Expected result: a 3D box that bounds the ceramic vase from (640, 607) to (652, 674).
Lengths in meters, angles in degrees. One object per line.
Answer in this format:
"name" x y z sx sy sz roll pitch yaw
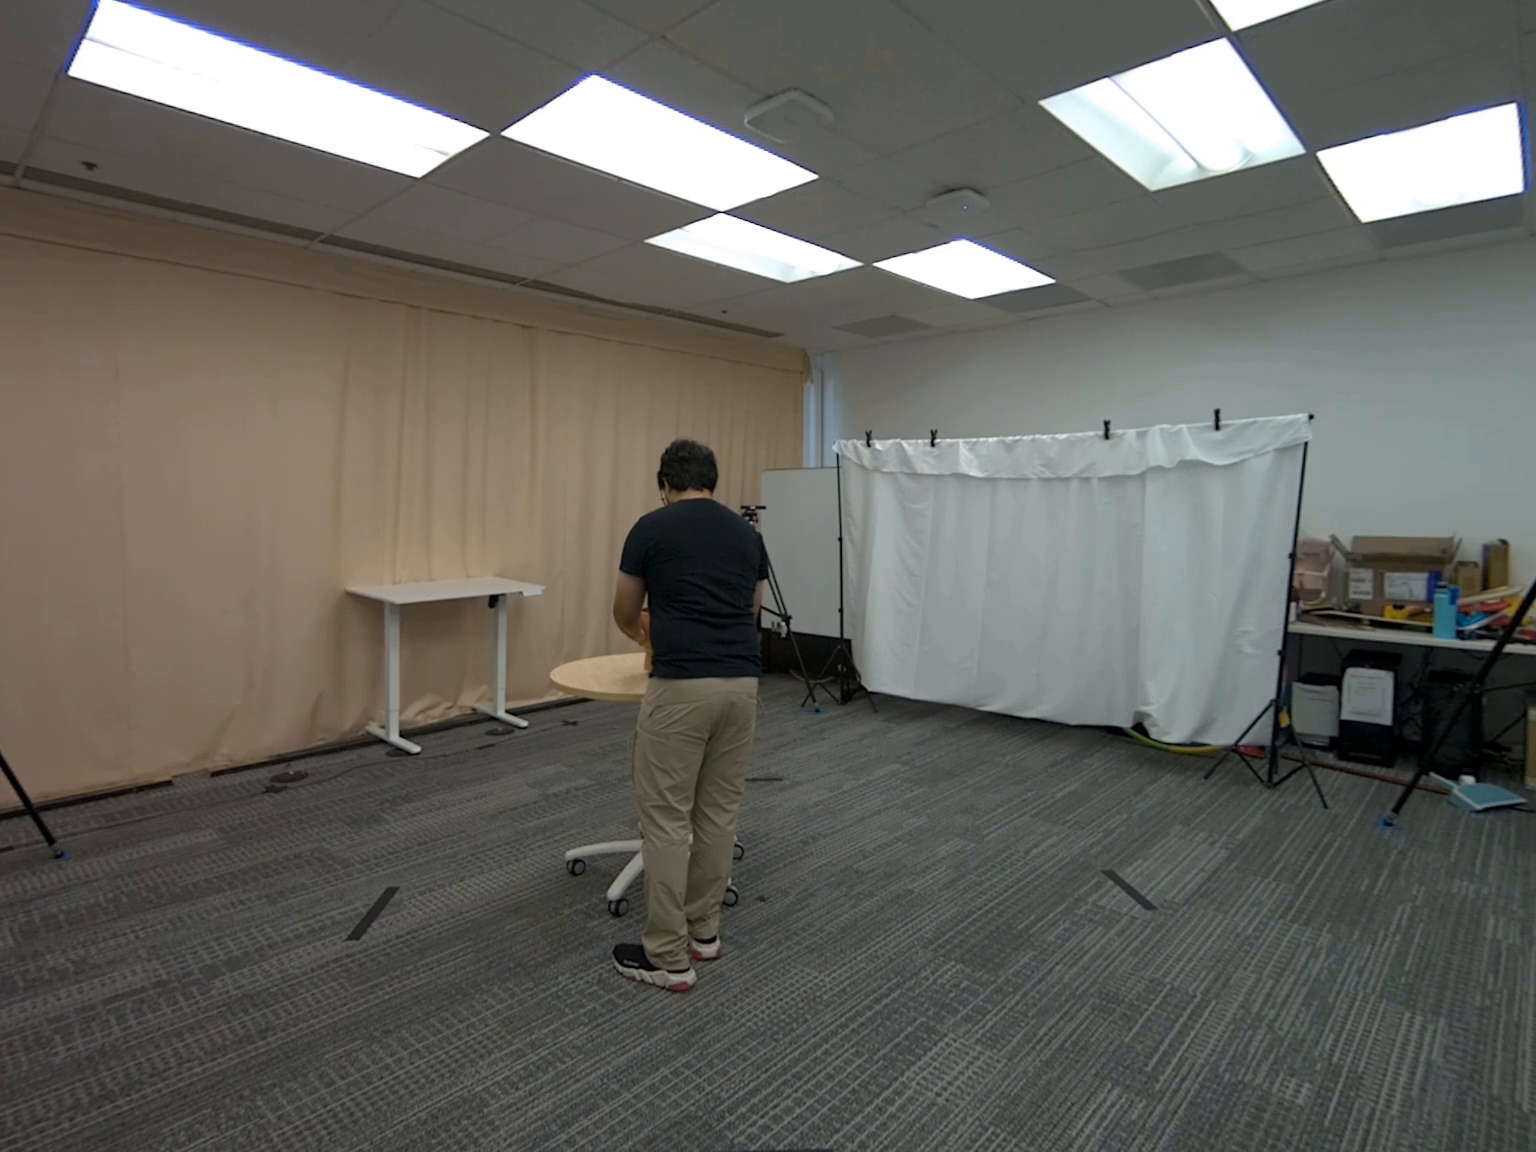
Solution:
"ceramic vase" -0.399 0.229 3.058 0.161 0.219 0.134 2 8 10
